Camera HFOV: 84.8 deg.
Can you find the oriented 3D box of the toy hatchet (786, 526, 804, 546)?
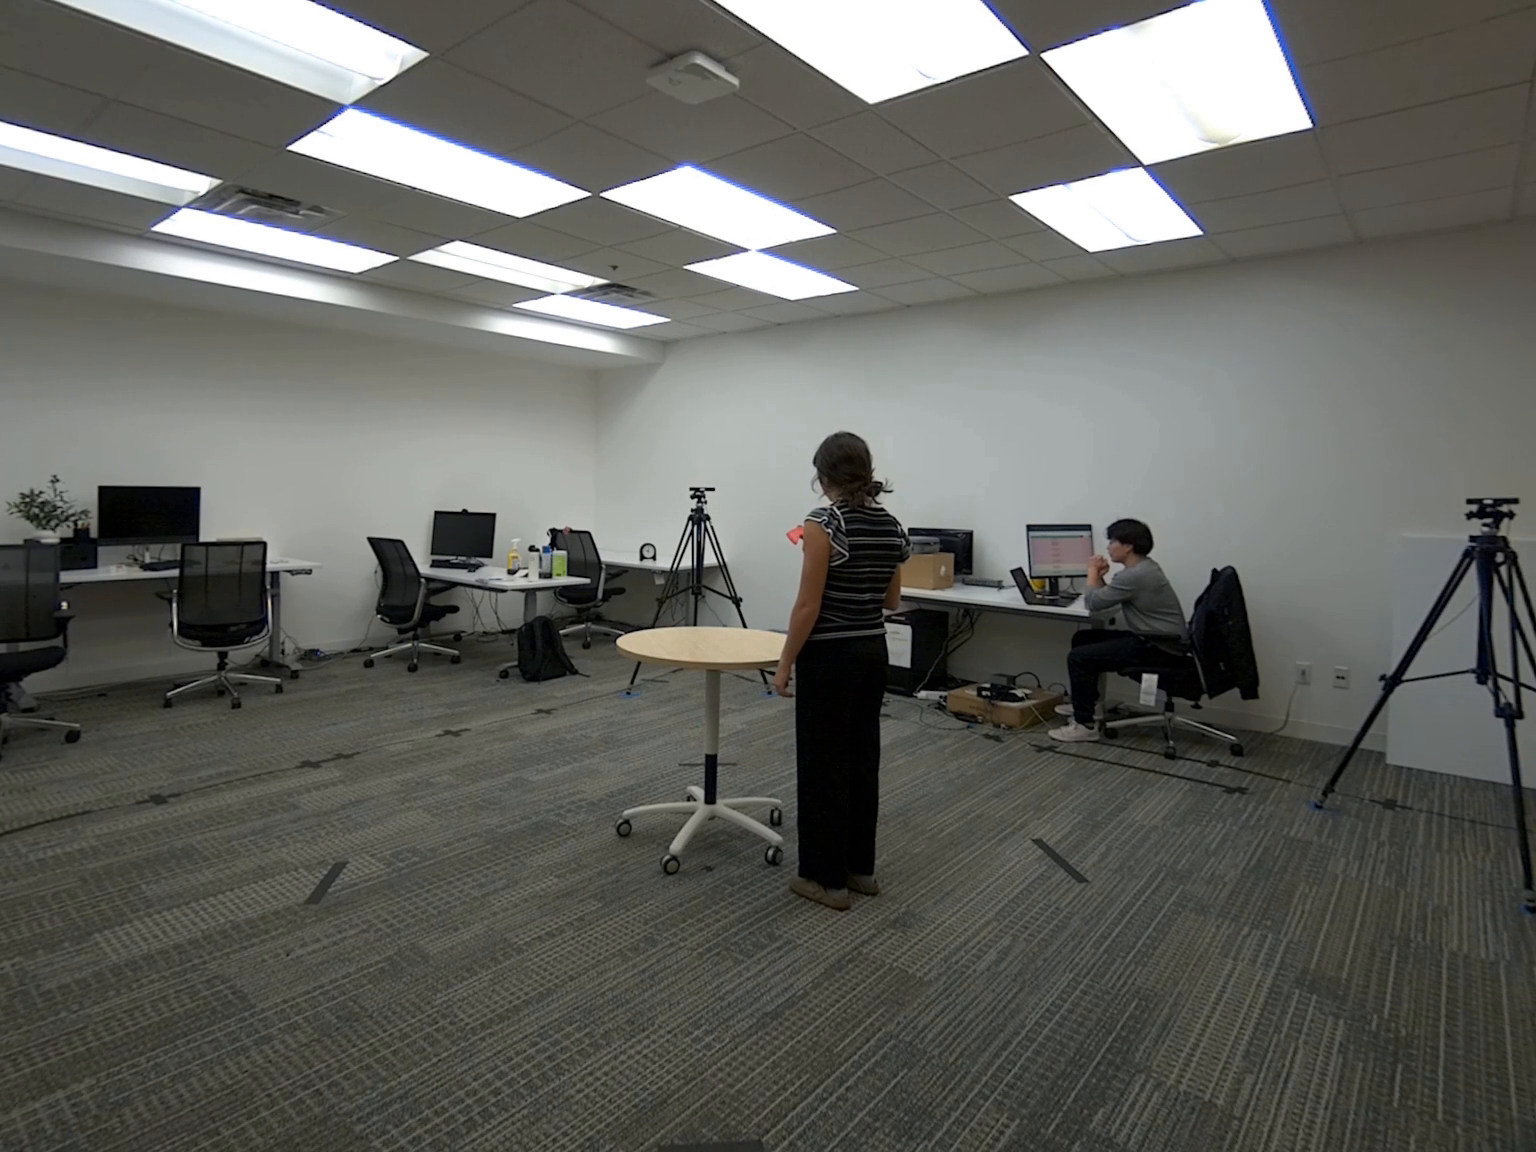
[{"bbox_3d":[0.141,-0.091,3.224,0.129,0.279,0.029,5,-42,-14],"label":"toy hatchet"}]
